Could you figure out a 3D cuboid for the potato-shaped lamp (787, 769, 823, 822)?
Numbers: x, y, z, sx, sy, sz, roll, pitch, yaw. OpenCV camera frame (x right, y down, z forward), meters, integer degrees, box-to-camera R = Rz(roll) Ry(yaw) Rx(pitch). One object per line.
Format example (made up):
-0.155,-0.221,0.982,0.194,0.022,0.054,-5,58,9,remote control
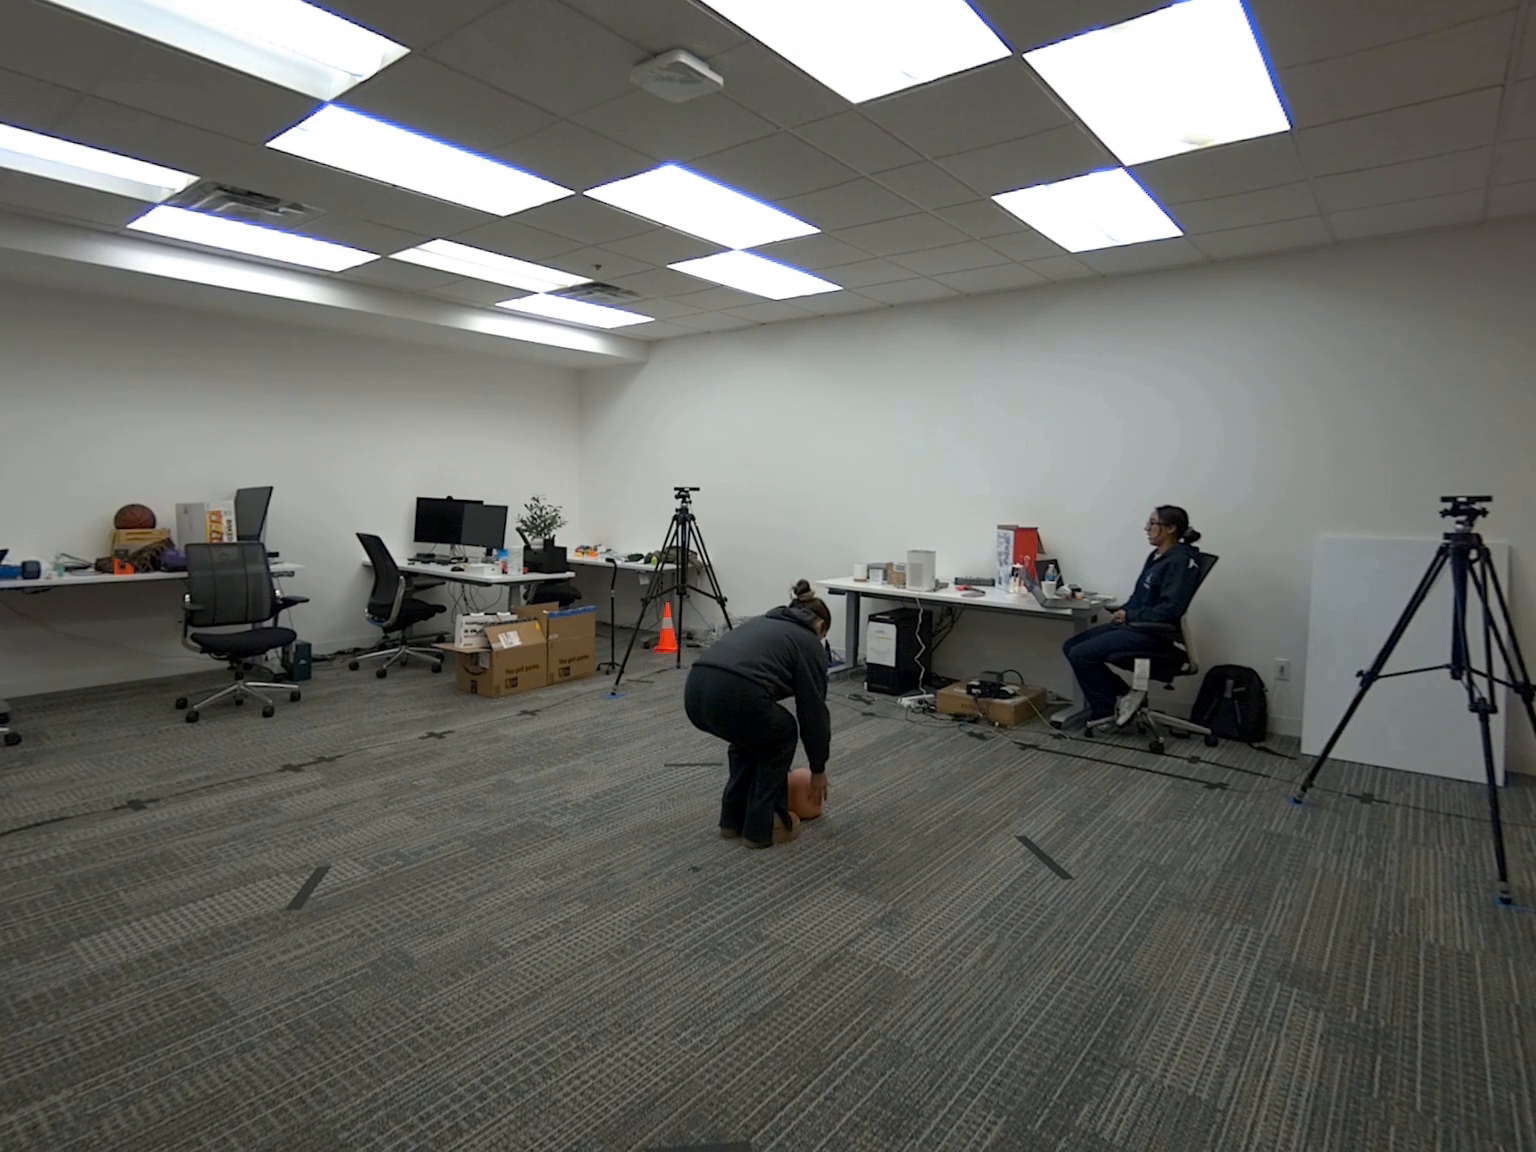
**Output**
0.146,0.917,3.635,0.166,0.196,0.171,-7,12,-42,potato-shaped lamp
